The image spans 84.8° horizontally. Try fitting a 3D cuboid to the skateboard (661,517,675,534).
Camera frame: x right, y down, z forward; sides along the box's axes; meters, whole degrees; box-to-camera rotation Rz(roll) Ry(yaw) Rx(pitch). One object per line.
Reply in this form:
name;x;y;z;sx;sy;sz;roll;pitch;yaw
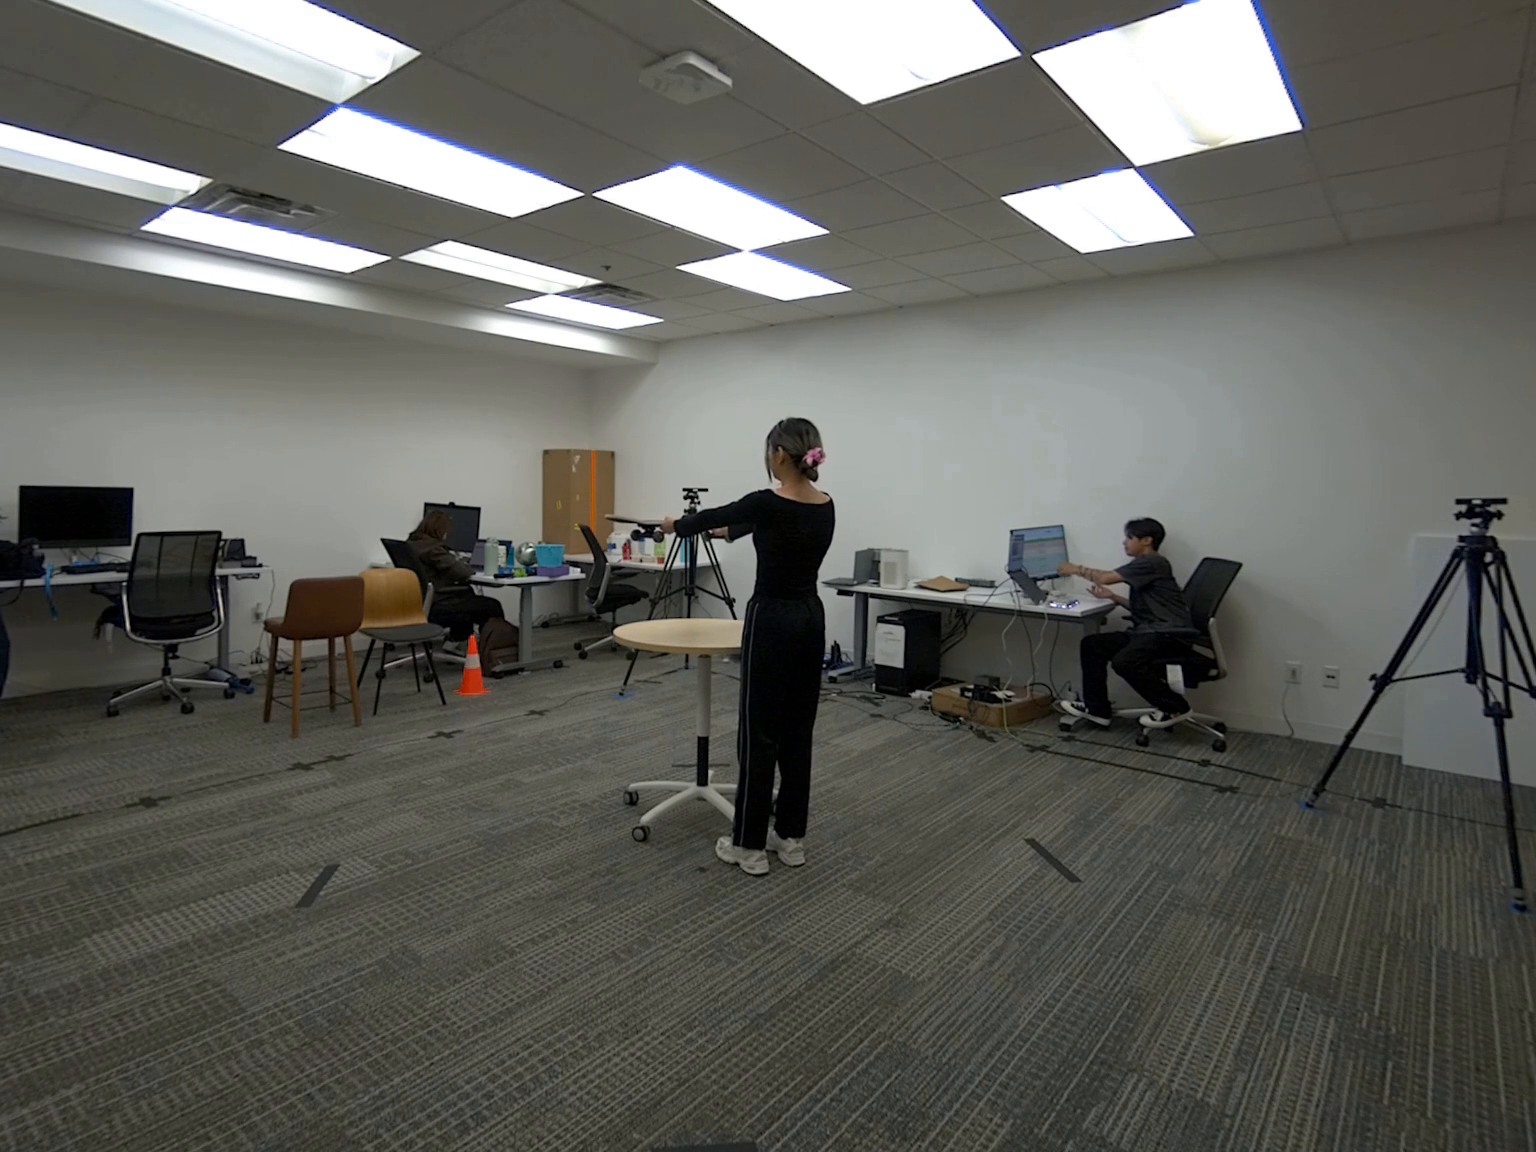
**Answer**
skateboard;-0.374;-0.204;3.666;0.761;0.110;0.200;-2;5;-44
